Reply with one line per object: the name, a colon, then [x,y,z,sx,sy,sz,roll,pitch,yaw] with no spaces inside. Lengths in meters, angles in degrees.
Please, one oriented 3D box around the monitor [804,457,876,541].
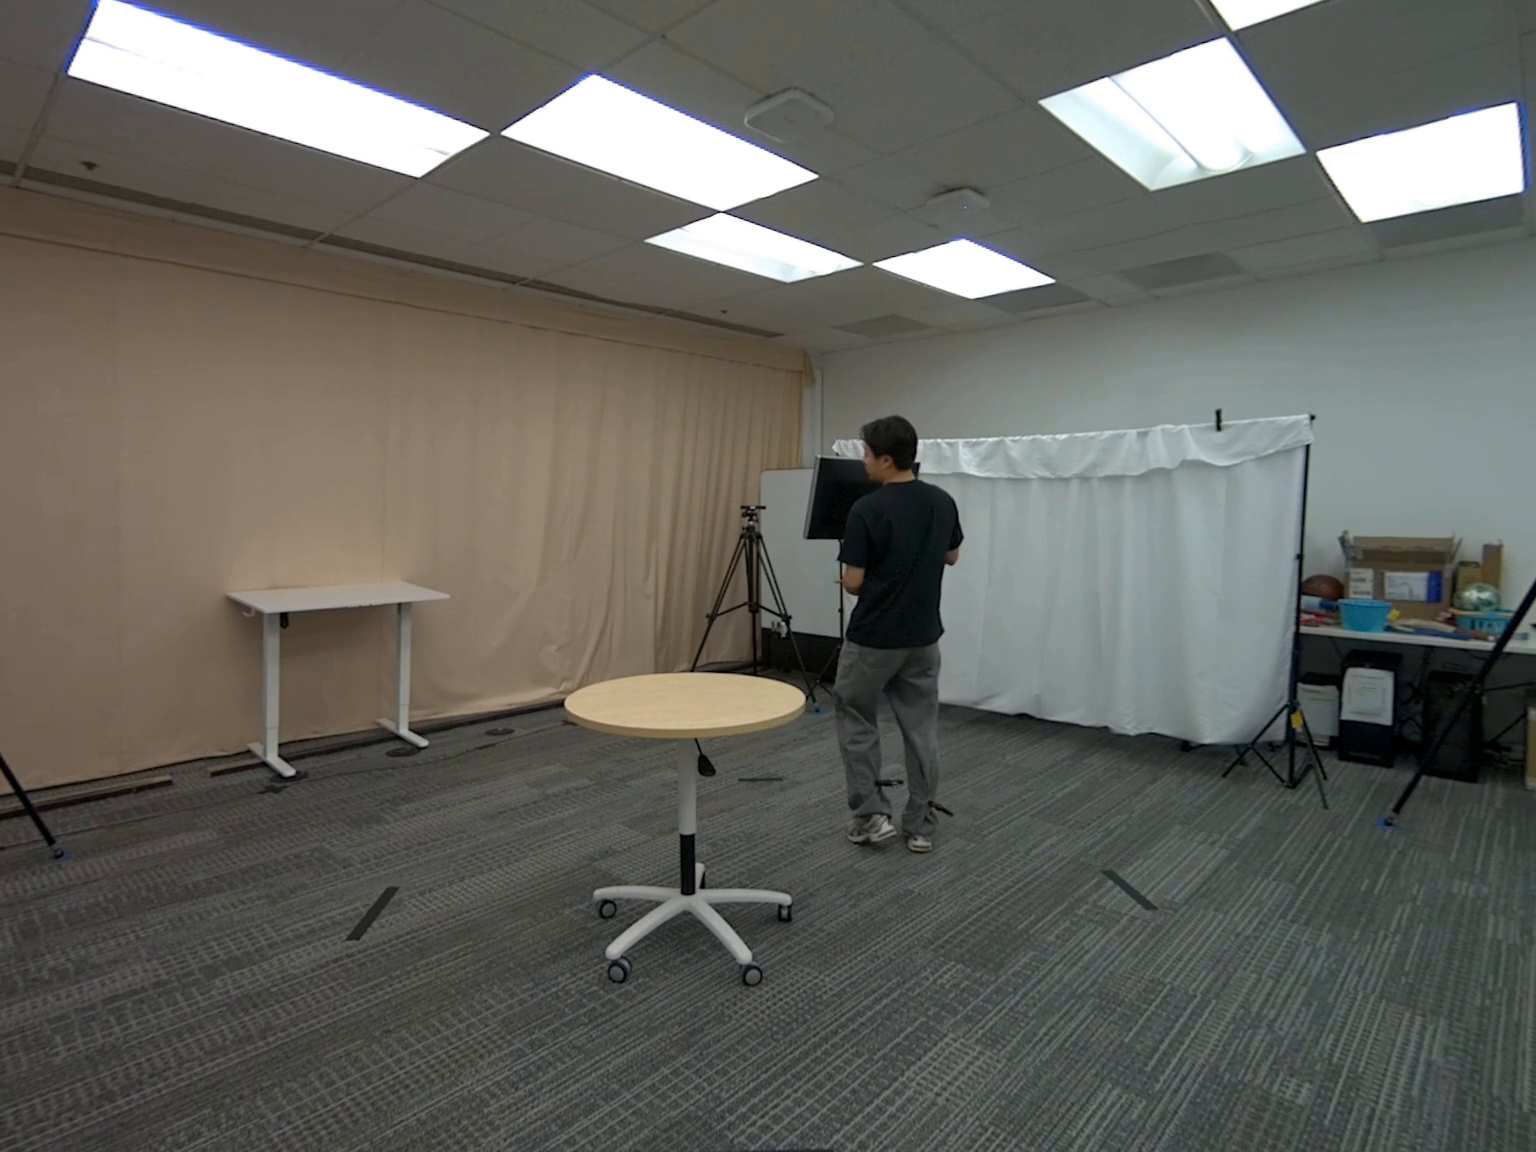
monitor: [0.433,-0.231,3.667,0.548,0.566,0.228,0,0,-25]
